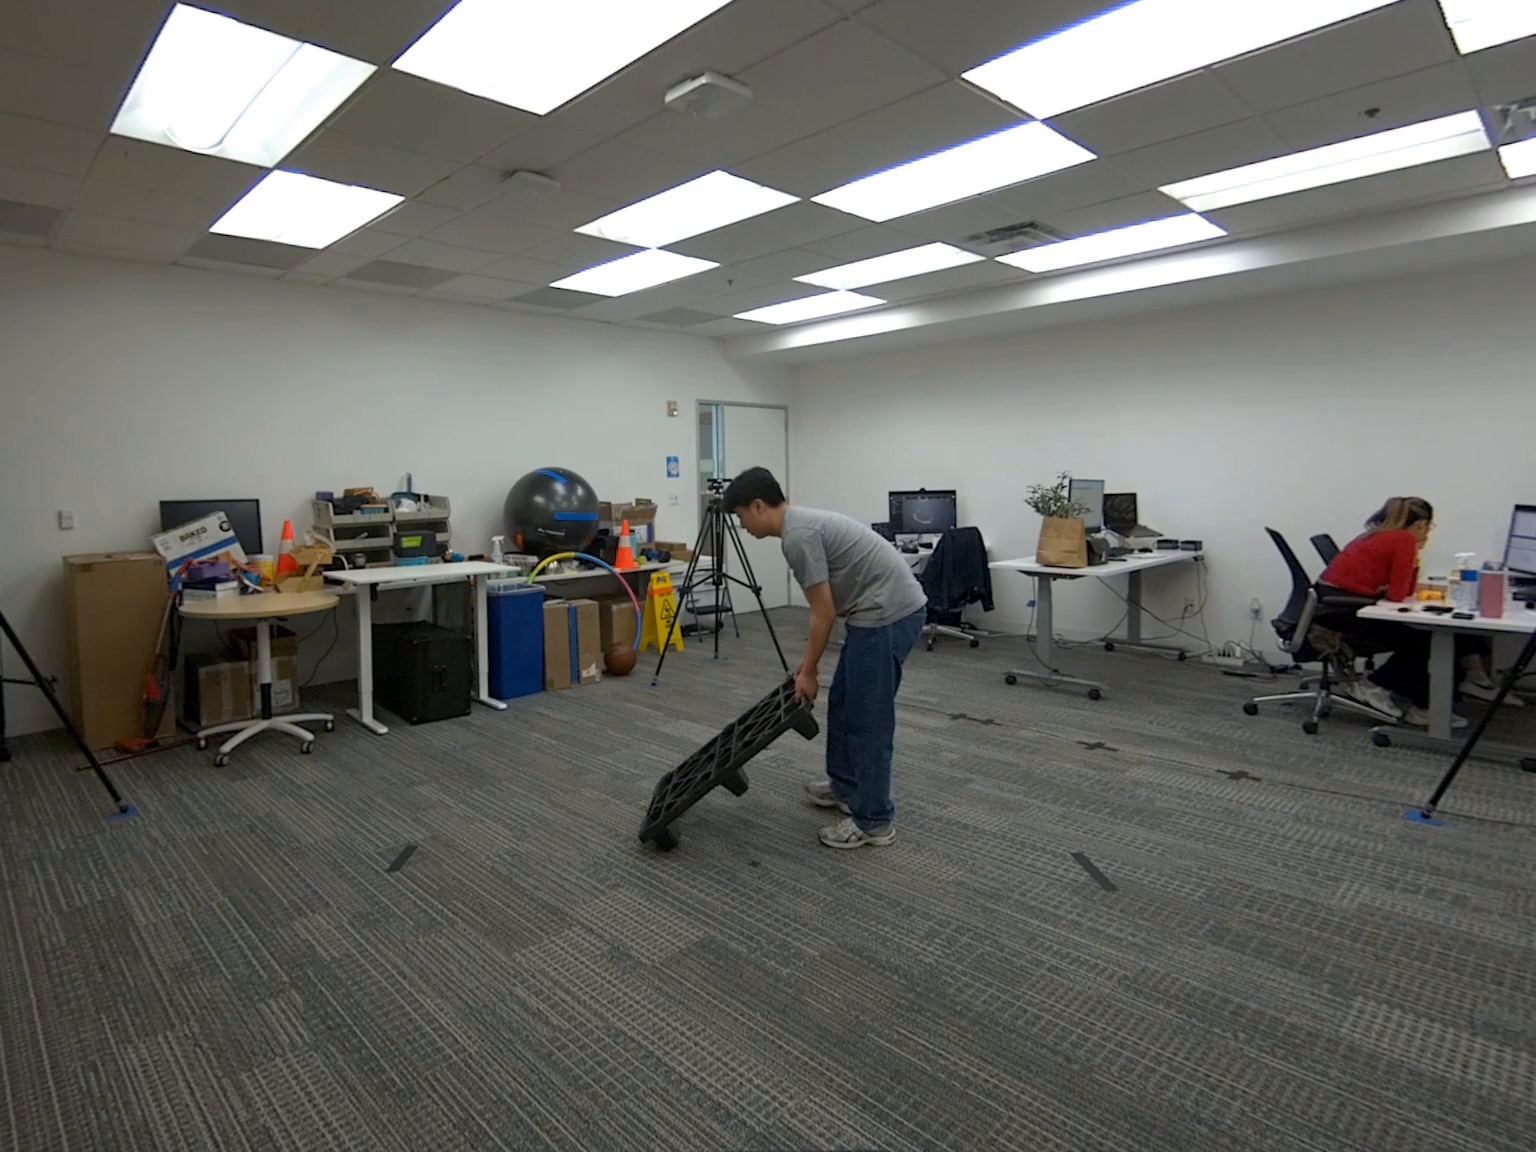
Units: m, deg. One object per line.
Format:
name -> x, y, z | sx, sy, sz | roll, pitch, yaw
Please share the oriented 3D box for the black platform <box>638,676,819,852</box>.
black platform -> -0.126, 0.731, 3.406 | 0.806, 0.143, 0.607 | -40, 5, 4
